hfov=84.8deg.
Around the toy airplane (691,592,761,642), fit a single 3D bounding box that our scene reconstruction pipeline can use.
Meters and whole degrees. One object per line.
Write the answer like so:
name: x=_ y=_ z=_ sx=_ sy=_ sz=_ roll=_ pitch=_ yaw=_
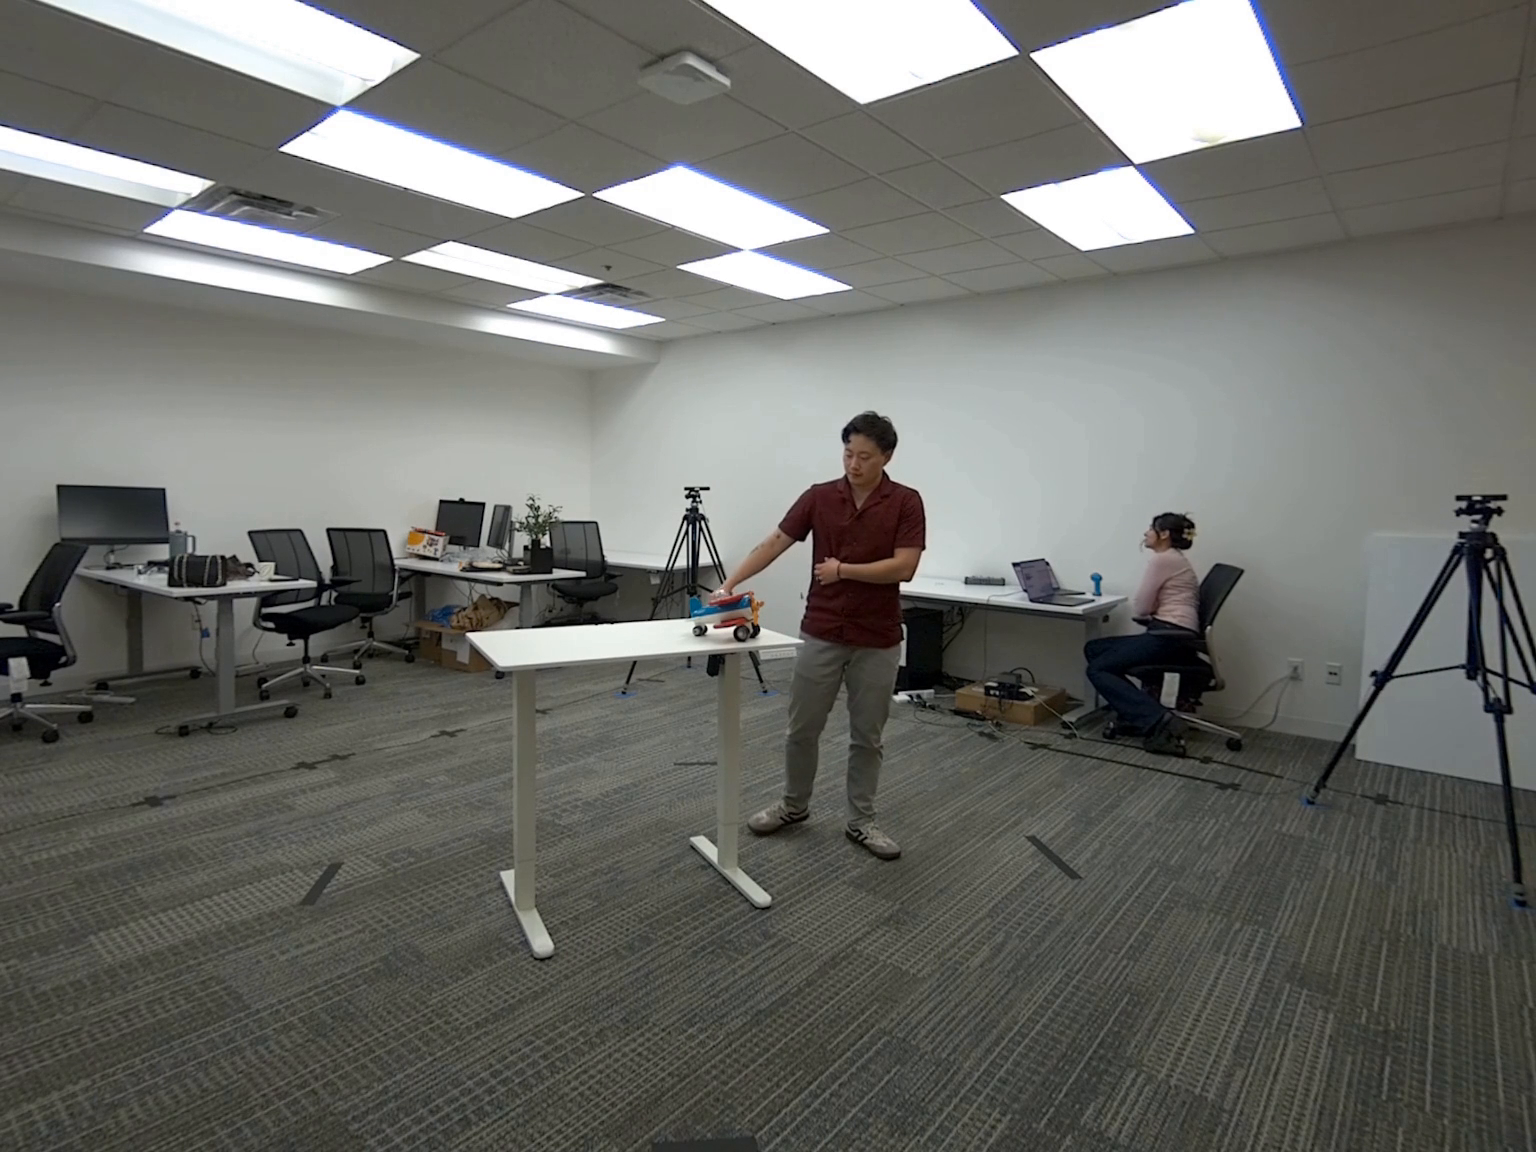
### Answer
toy airplane: x=-0.159 y=0.132 z=2.861 sx=0.258 sy=0.156 sz=0.253 roll=0 pitch=5 yaw=-4
